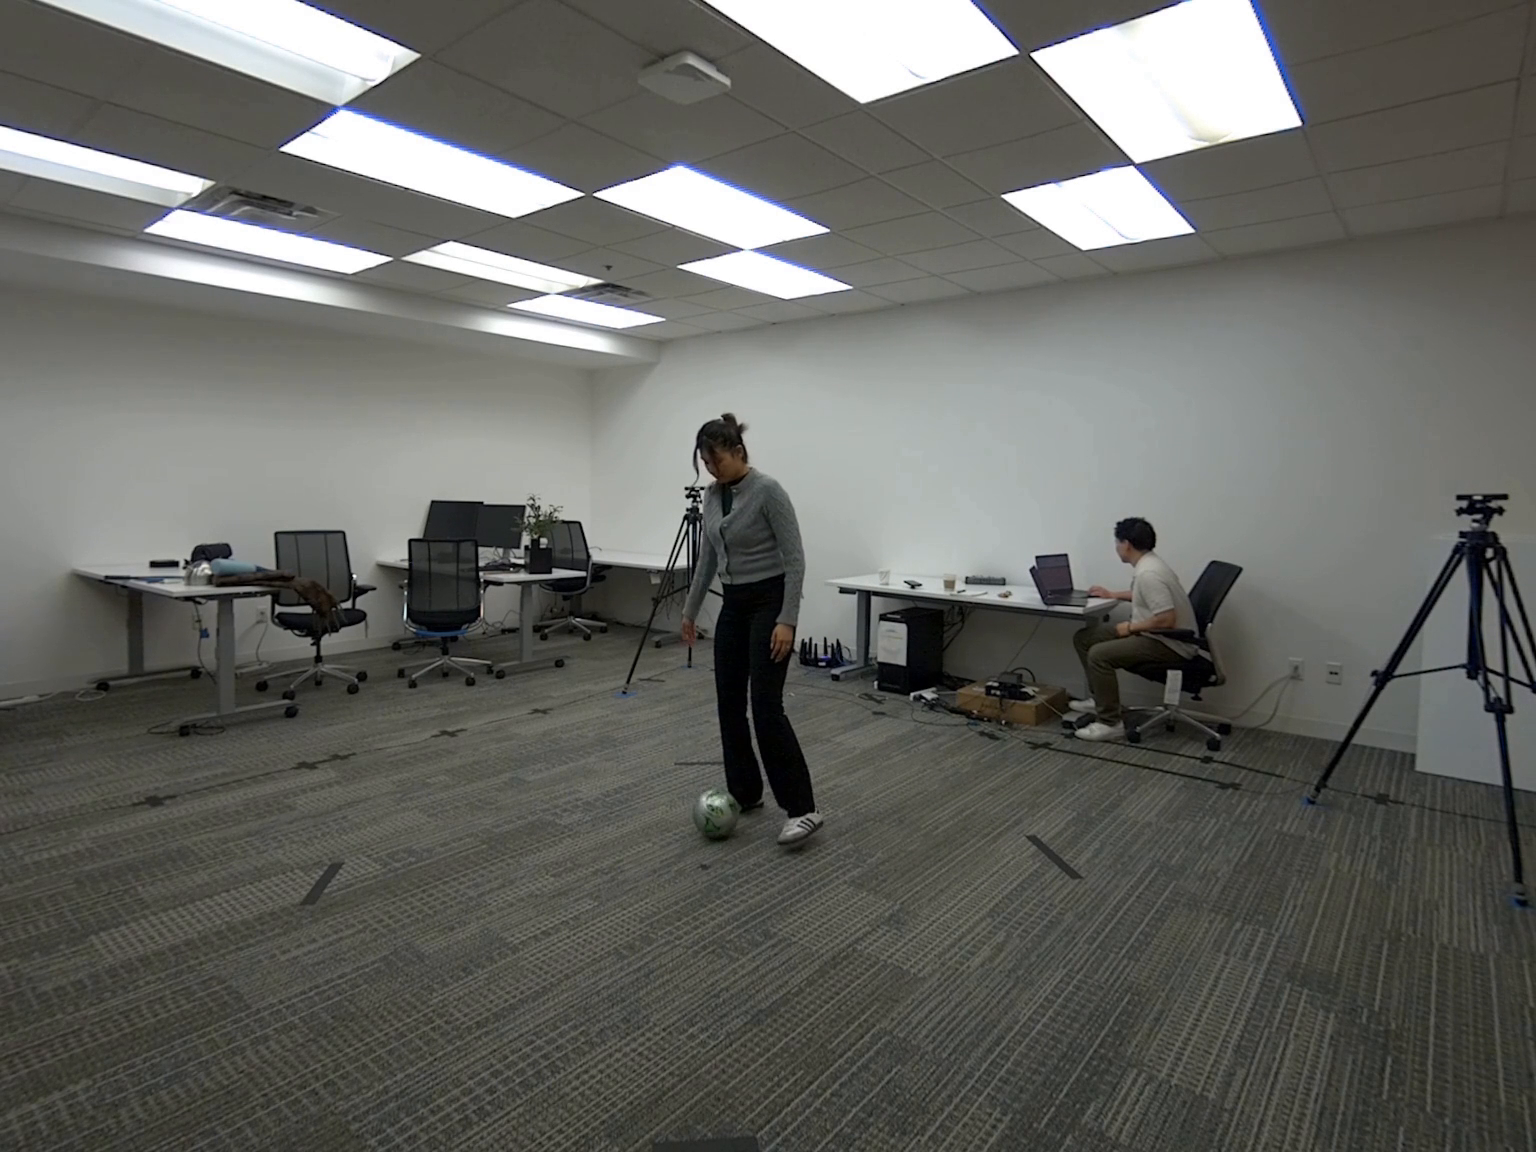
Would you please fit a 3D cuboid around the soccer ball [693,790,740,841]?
[{"bbox_3d":[-0.216,0.946,3.394,0.187,0.187,0.188,1,4,-2],"label":"soccer ball"}]
